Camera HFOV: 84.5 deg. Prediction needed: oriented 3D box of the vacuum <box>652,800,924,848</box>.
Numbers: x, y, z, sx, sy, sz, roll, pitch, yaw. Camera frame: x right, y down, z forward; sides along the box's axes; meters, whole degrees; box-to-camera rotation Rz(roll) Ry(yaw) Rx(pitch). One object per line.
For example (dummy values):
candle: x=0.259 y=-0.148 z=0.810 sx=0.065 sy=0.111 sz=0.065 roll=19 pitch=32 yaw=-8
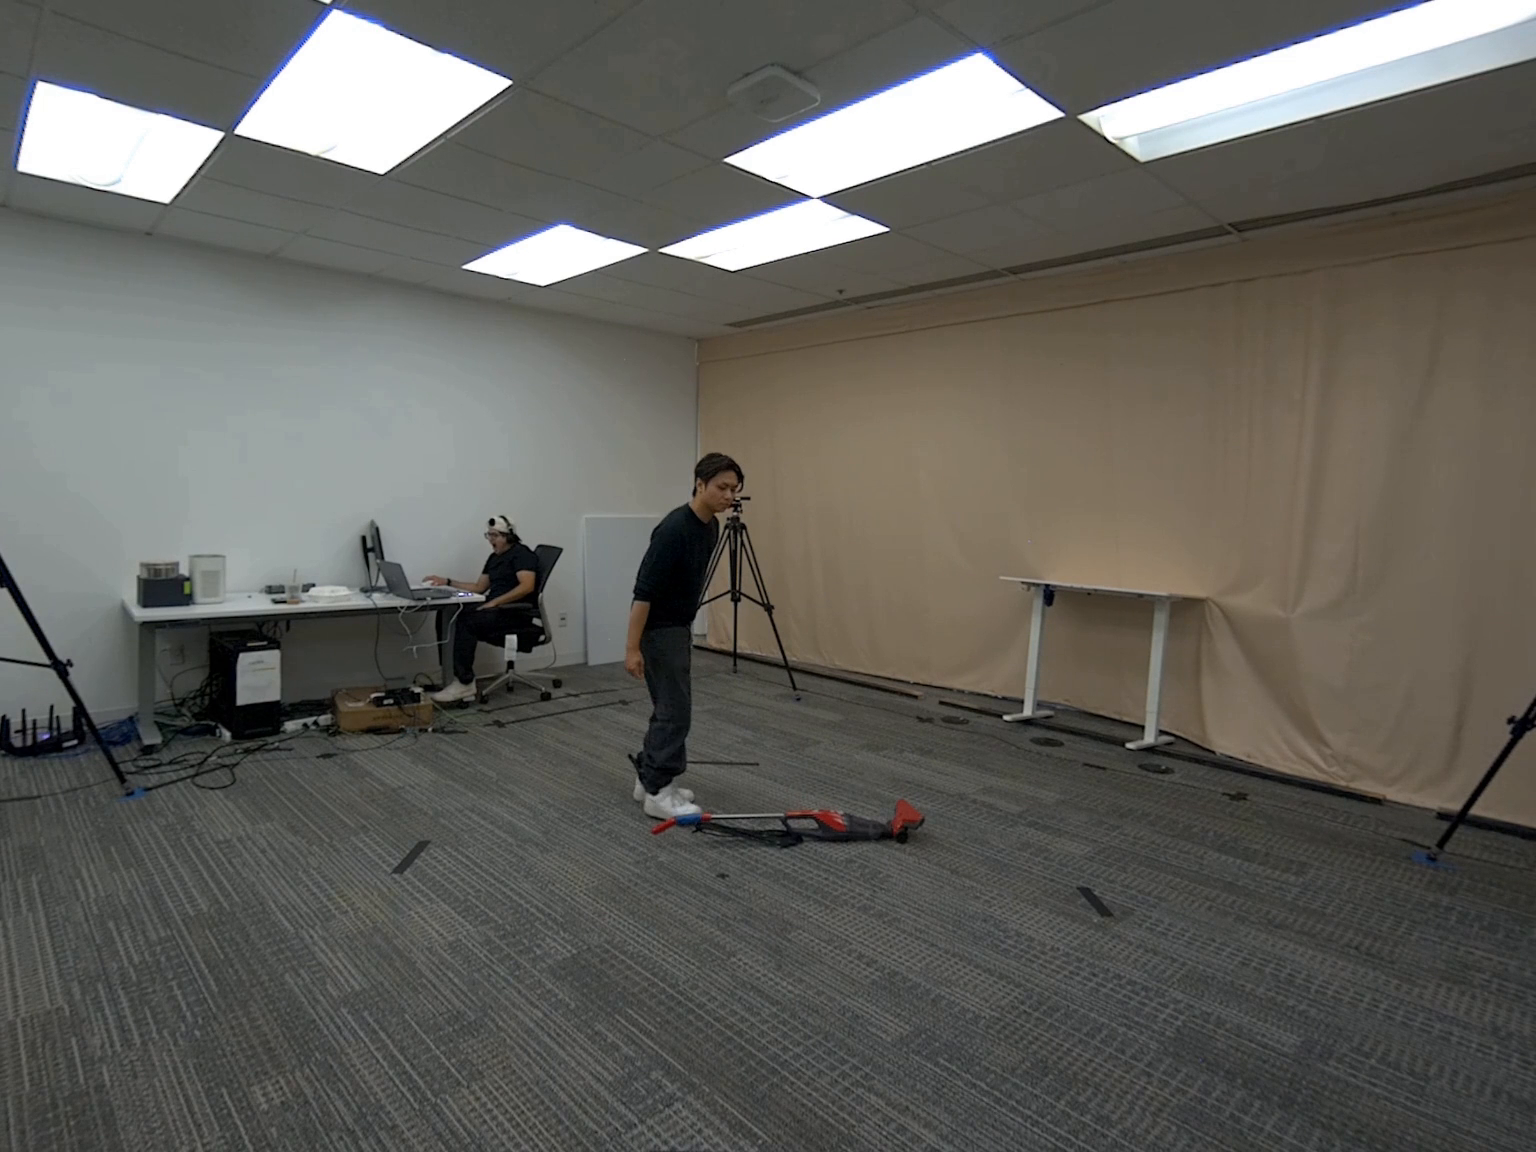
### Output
vacuum: x=0.052 y=1.020 z=3.423 sx=1.041 sy=0.144 sz=0.254 roll=0 pitch=-1 yaw=-10
